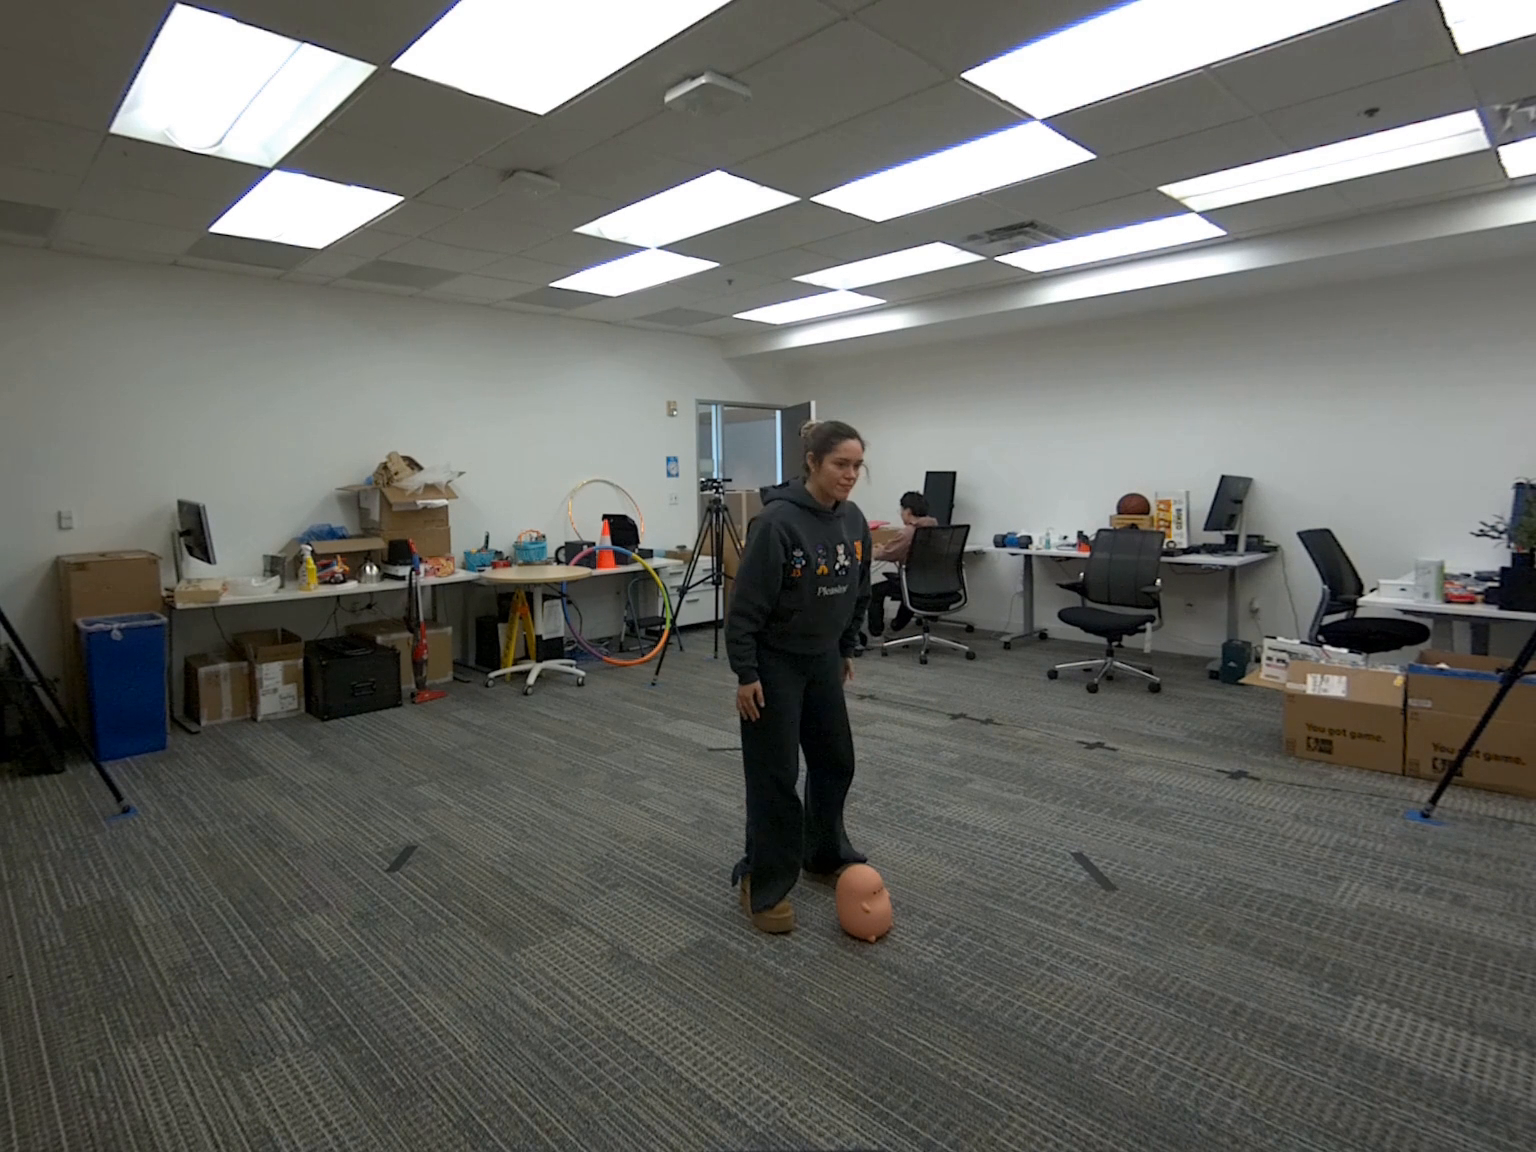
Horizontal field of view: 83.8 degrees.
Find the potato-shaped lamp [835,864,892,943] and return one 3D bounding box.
[{"bbox_3d":[0.296,0.993,2.618,0.176,0.197,0.161,0,7,44],"label":"potato-shaped lamp"}]
